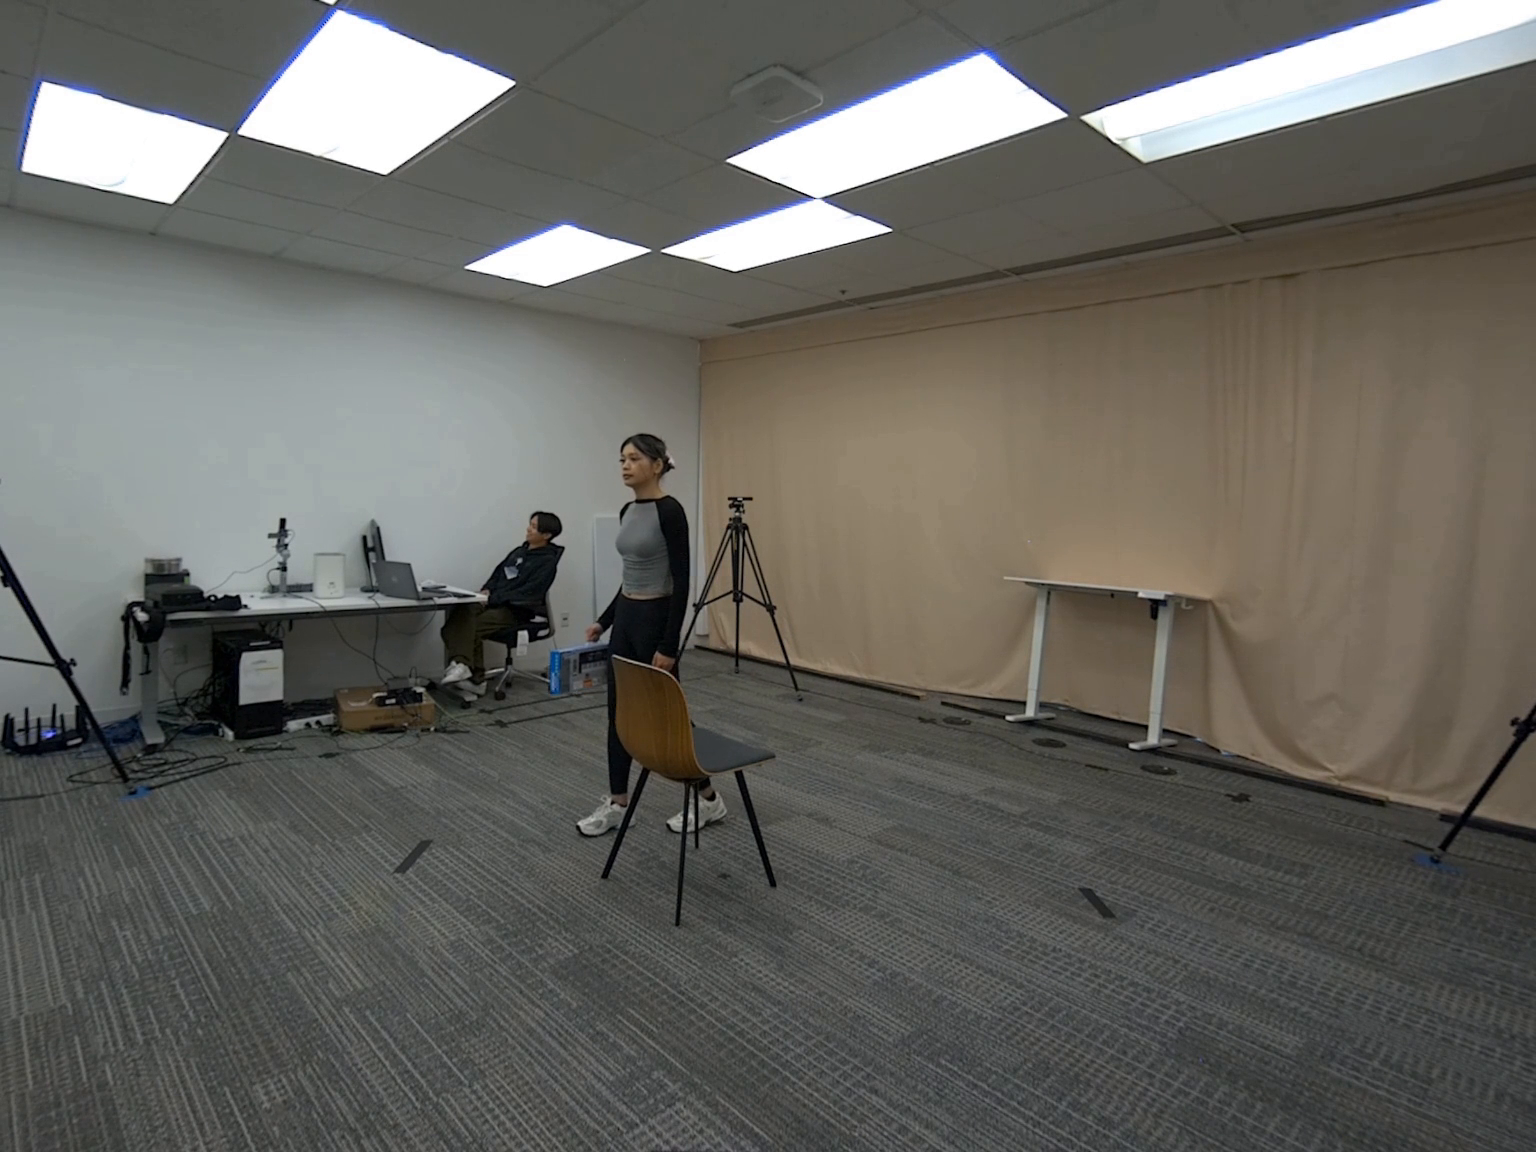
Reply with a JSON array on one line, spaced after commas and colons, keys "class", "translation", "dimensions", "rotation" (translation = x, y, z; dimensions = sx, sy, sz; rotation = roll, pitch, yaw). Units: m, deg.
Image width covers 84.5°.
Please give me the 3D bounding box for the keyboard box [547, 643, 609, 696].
[{"class": "keyboard box", "translation": [-0.742, 0.381, 3.575], "dimensions": [0.060, 0.175, 0.427], "rotation": [3, 4, 35]}]
